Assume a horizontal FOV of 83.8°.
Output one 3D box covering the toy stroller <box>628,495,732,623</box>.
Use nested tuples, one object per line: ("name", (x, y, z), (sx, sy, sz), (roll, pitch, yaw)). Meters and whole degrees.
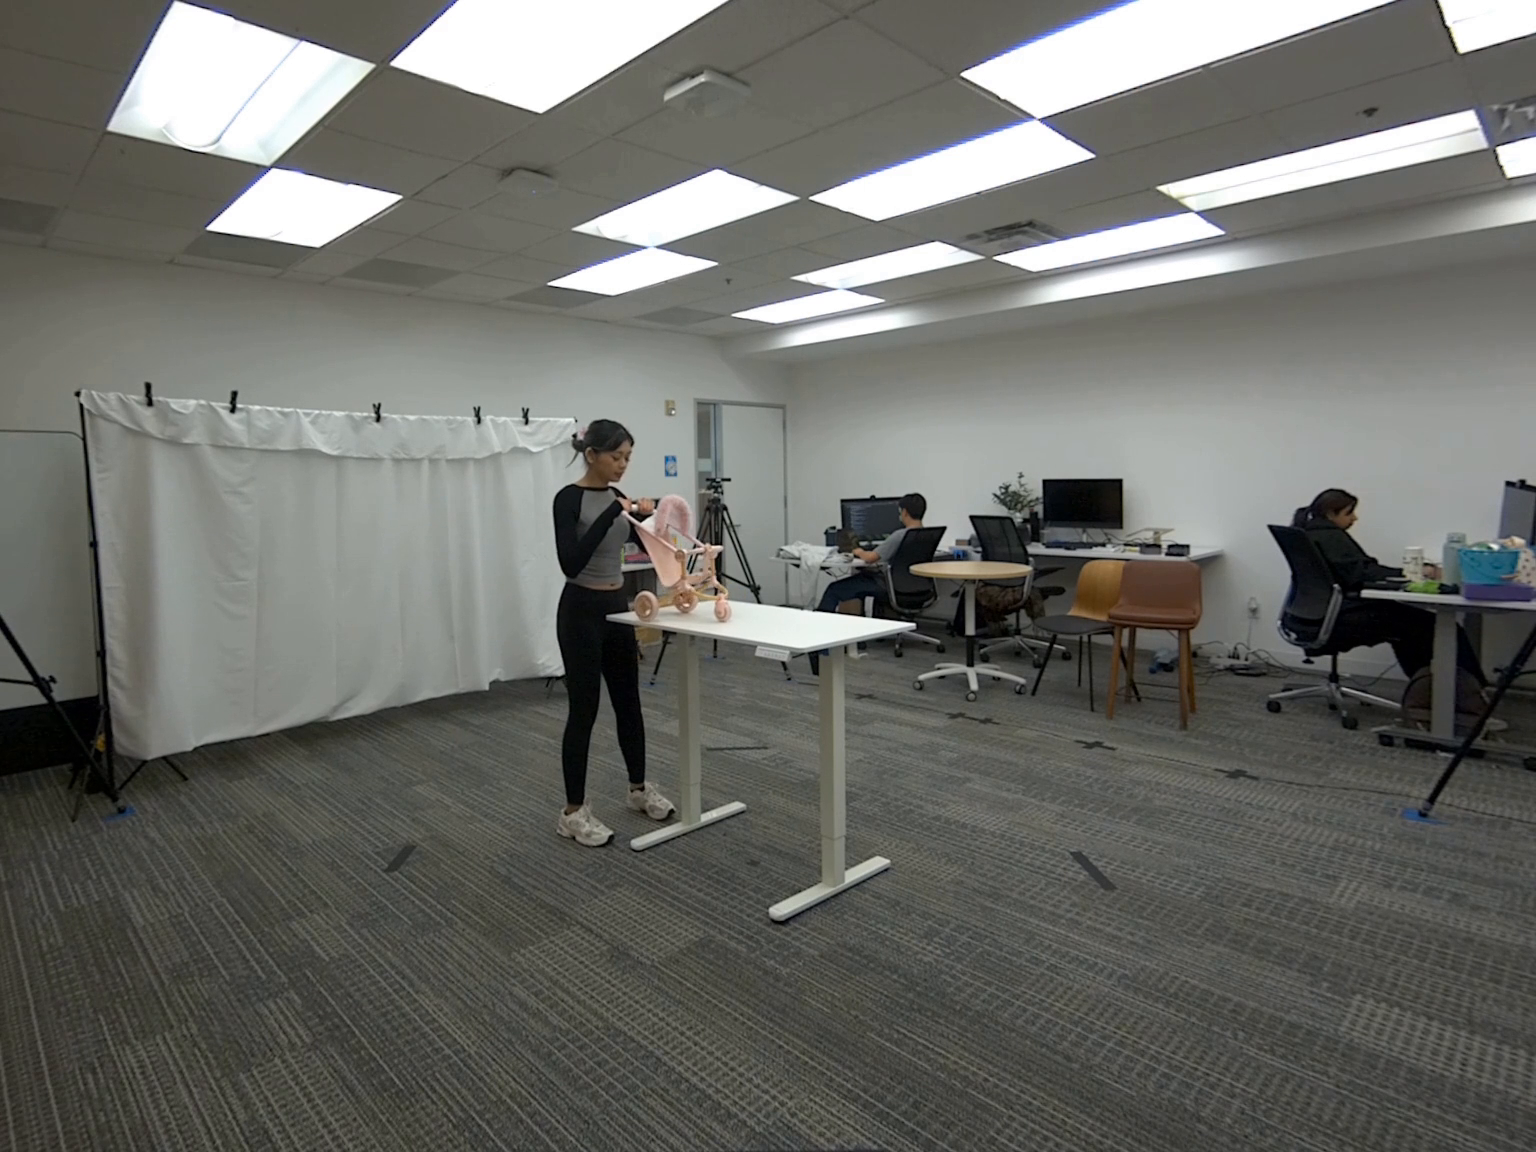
("toy stroller", (-0.331, -0.065, 3.163), (0.347, 0.539, 0.274), (-18, -7, 36))
